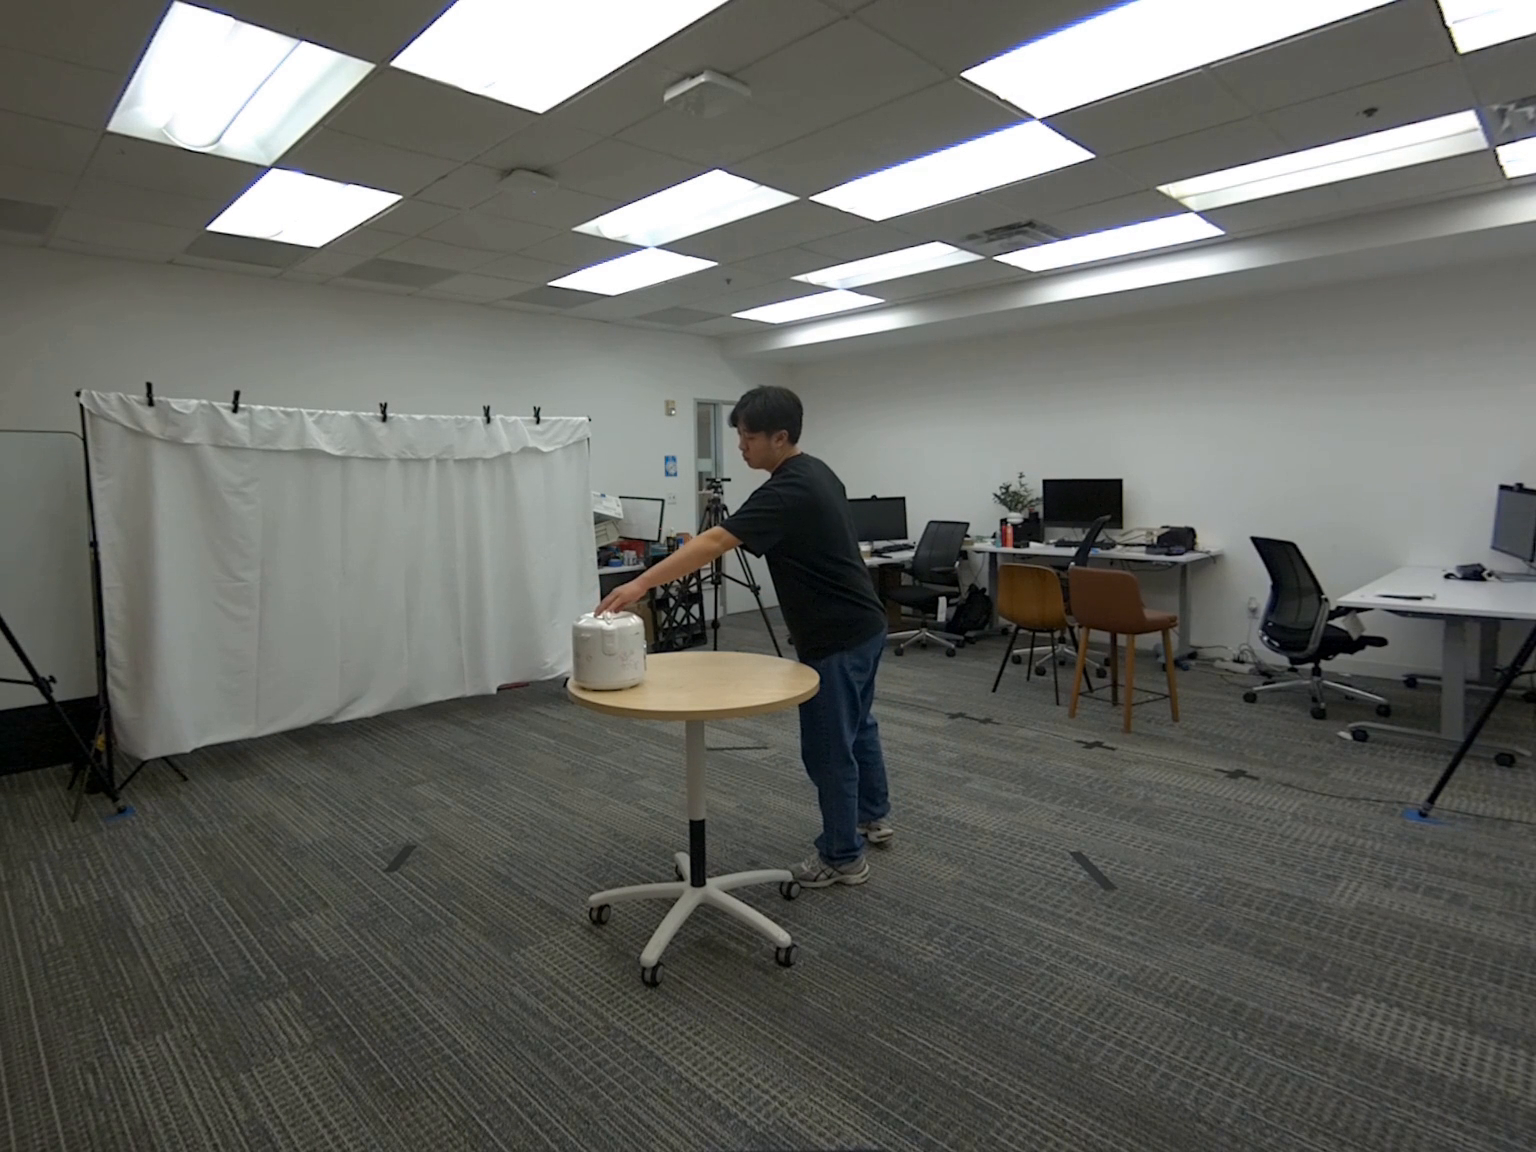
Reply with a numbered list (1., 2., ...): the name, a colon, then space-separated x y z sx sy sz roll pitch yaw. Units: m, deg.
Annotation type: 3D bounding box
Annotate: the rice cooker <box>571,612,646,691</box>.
1. rice cooker: -0.466 0.207 2.525 0.215 0.232 0.224 -3 5 -11
